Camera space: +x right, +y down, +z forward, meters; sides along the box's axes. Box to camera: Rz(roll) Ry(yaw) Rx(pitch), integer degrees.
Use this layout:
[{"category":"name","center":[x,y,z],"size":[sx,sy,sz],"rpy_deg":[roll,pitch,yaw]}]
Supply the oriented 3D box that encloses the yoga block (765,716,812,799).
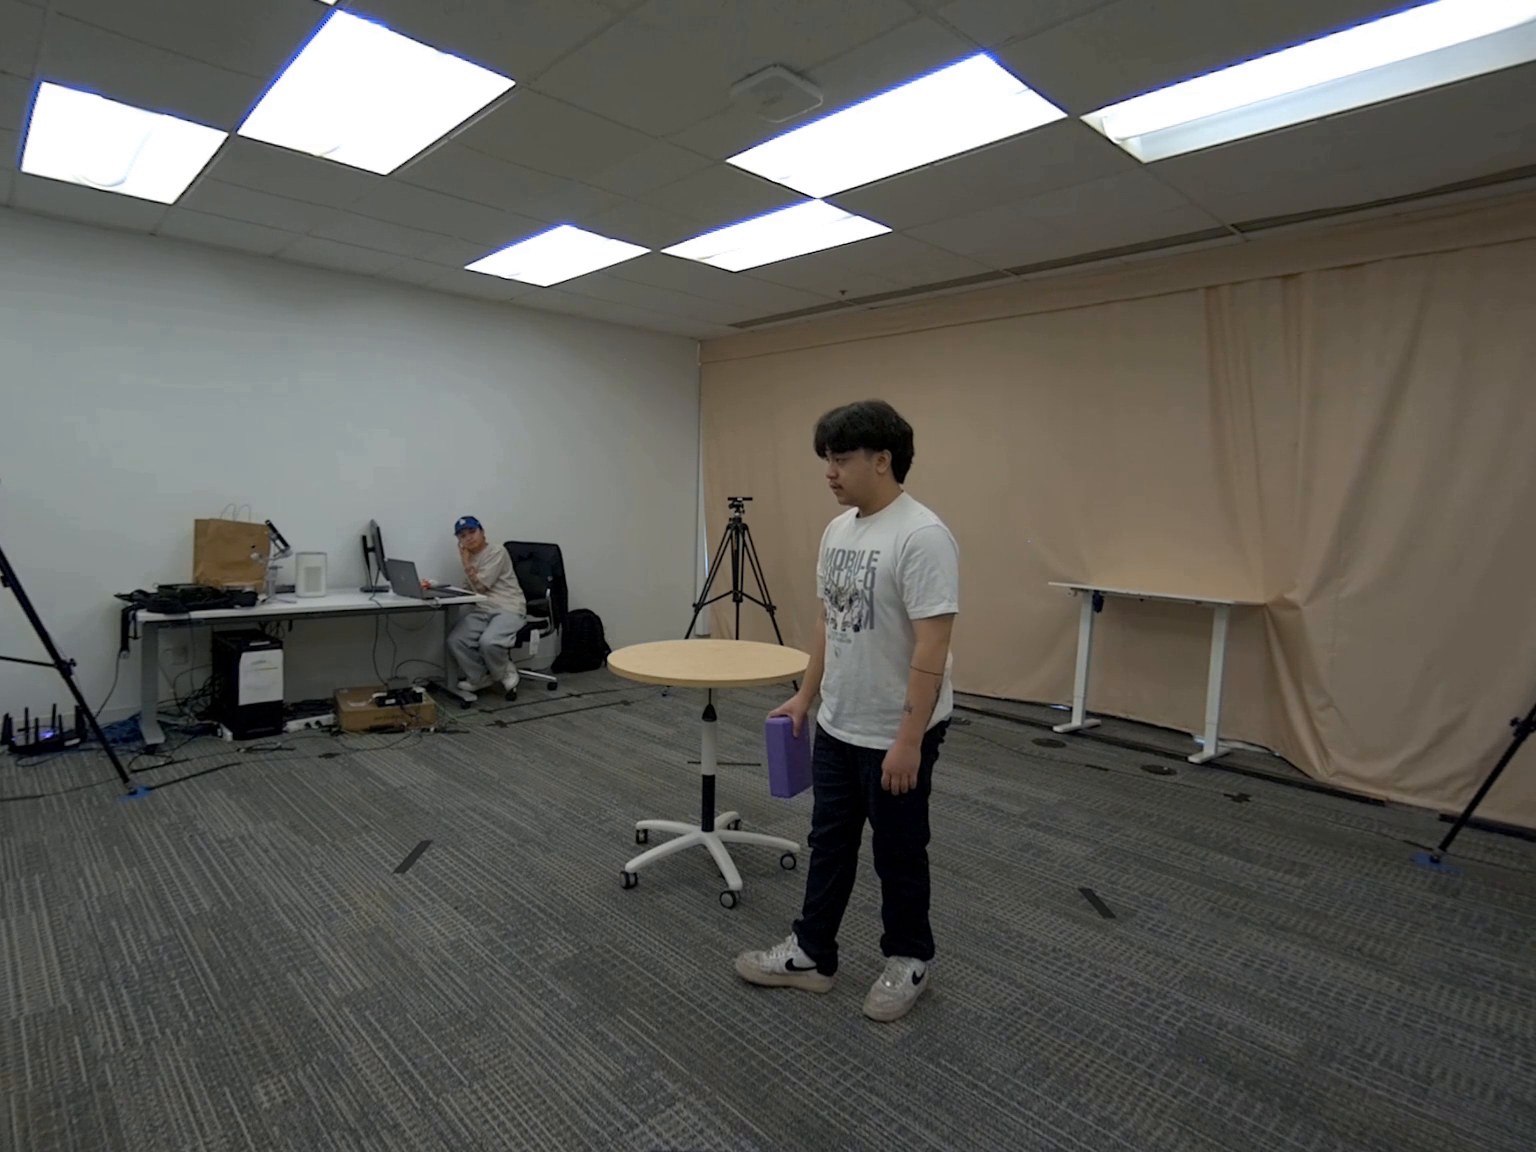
[{"category":"yoga block","center":[0.066,0.539,2.530],"size":[0.078,0.229,0.146],"rpy_deg":[-2,1,34]}]
